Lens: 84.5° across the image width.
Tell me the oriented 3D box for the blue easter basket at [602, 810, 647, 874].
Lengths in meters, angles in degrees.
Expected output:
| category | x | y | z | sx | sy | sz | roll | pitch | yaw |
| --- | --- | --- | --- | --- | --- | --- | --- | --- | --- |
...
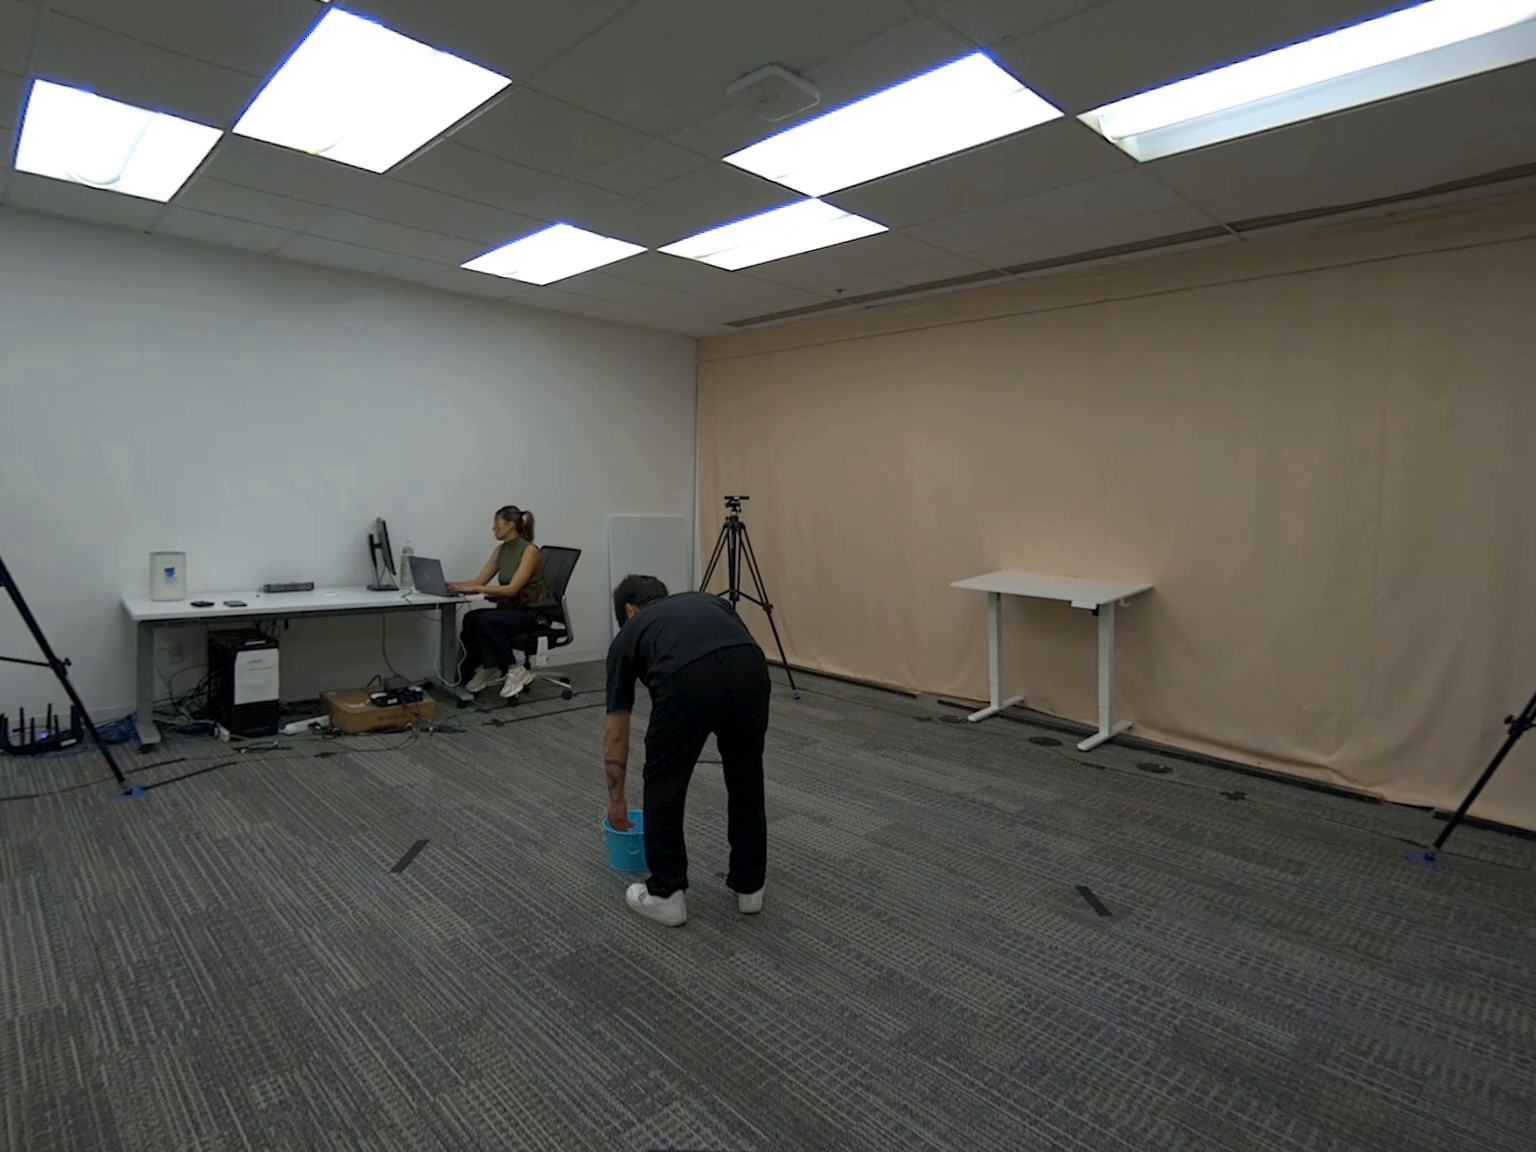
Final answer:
| category | x | y | z | sx | sy | sz | roll | pitch | yaw |
| --- | --- | --- | --- | --- | --- | --- | --- | --- | --- |
| blue easter basket | -0.523 | 1.008 | 3.208 | 0.243 | 0.155 | 0.244 | 1 | 5 | -1 |
